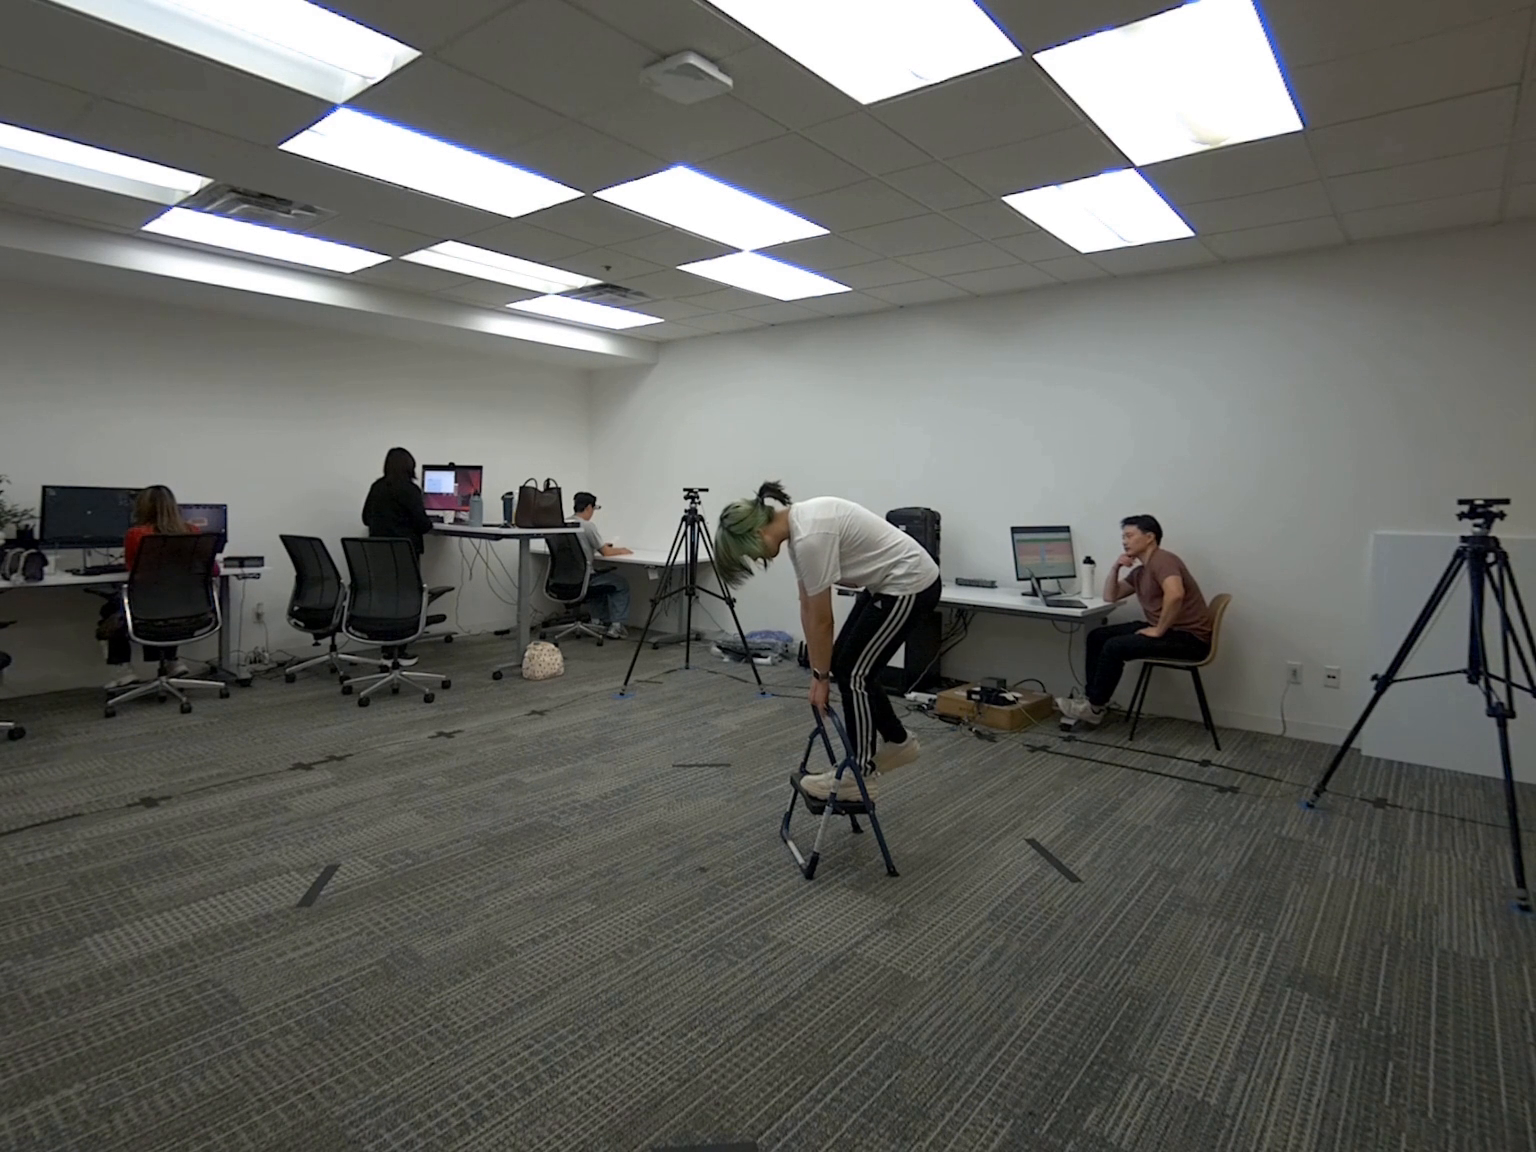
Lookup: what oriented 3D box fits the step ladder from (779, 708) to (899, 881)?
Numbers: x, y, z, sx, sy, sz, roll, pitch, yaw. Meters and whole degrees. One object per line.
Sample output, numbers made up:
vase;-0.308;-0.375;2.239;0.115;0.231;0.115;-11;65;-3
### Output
step ladder;0.259;0.770;3.257;0.345;0.604;0.438;1;4;-13
